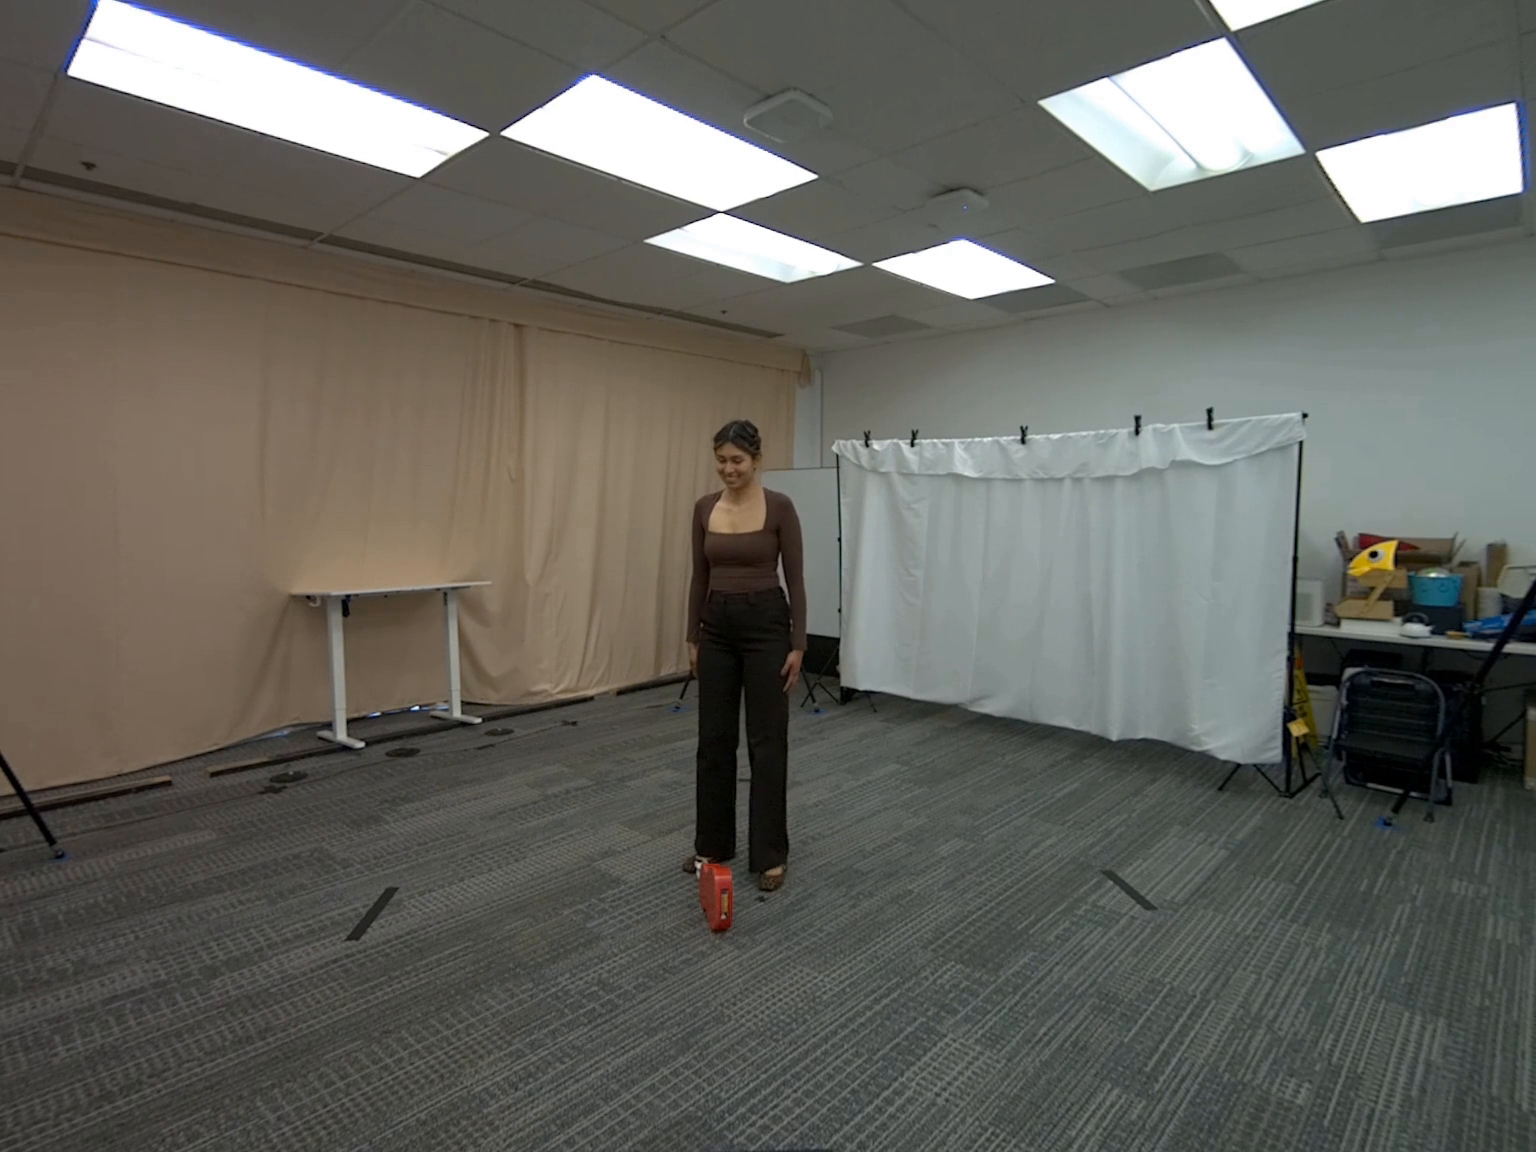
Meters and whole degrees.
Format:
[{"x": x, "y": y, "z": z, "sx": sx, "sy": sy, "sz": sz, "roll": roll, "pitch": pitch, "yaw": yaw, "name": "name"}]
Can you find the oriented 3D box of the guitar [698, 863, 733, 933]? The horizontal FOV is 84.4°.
[{"x": -0.206, "y": 1.101, "z": 2.948, "sx": 0.069, "sy": 0.195, "sz": 0.500, "roll": 1, "pitch": -14, "yaw": -15, "name": "guitar"}]
